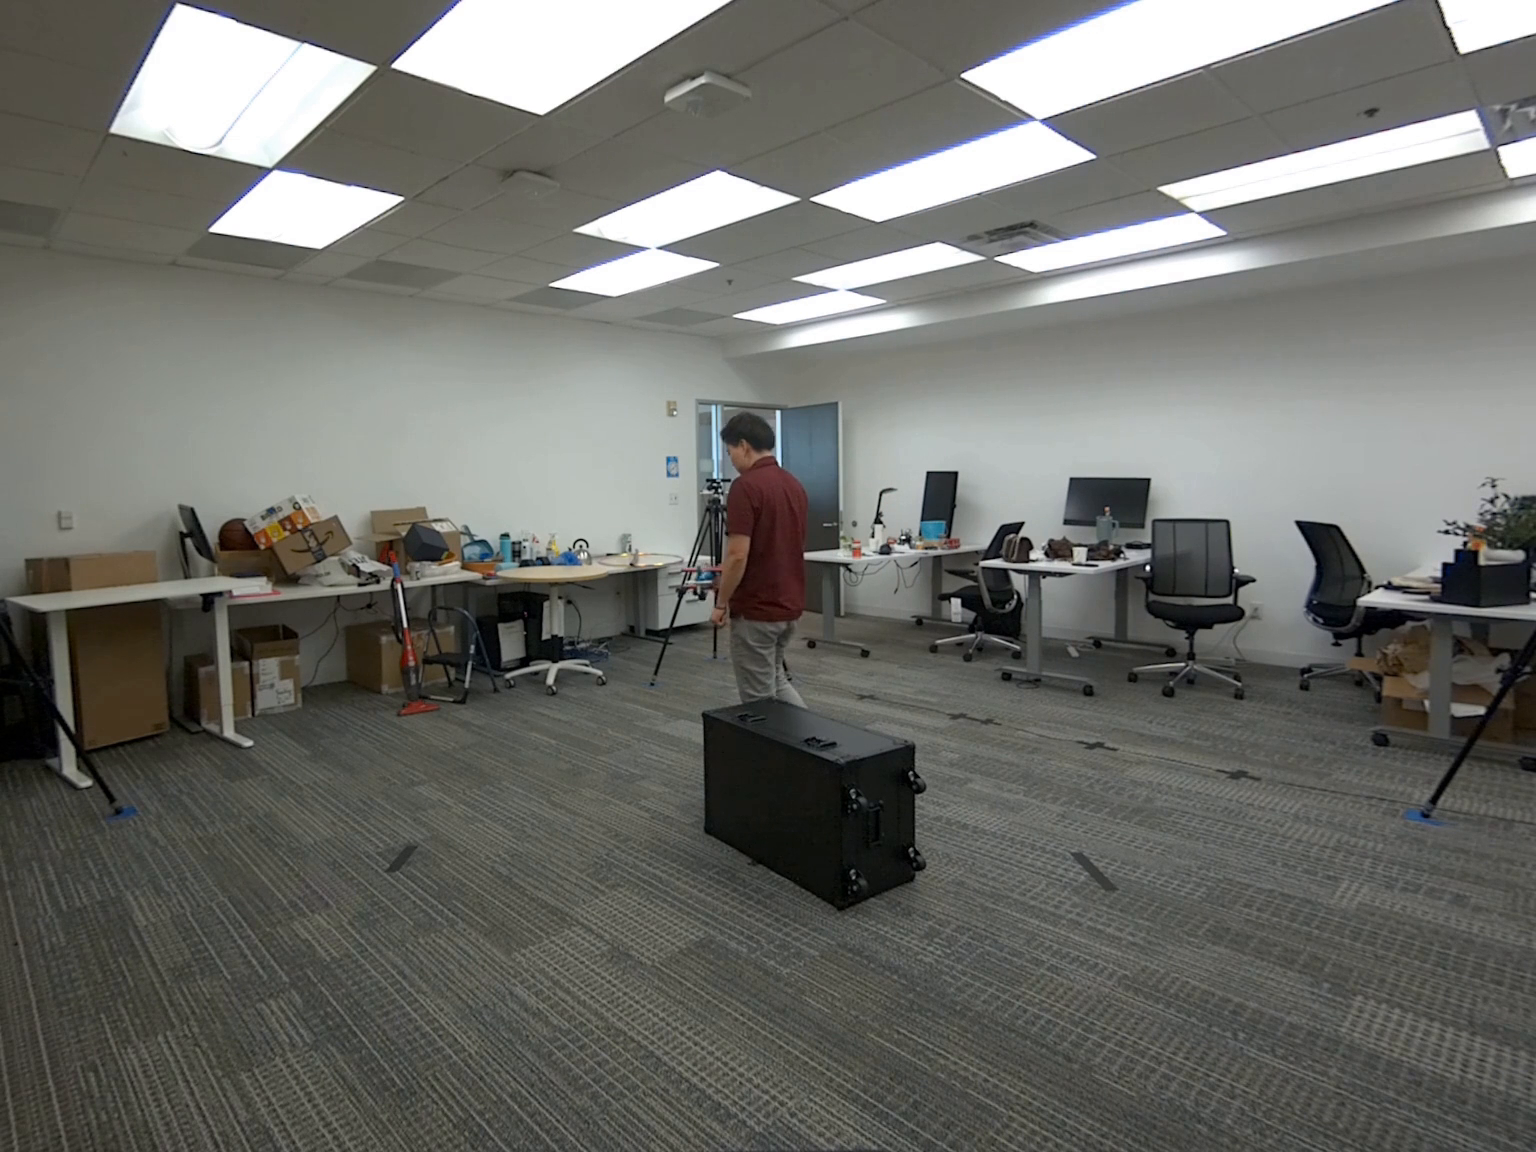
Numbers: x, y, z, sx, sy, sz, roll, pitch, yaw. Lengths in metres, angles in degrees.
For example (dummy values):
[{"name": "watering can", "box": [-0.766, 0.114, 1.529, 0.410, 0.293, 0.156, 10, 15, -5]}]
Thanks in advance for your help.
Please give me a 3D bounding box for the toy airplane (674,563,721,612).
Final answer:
[{"name": "toy airplane", "box": [-0.258, 0.024, 3.881, 0.248, 0.158, 0.260, 3, -11, -14]}]
